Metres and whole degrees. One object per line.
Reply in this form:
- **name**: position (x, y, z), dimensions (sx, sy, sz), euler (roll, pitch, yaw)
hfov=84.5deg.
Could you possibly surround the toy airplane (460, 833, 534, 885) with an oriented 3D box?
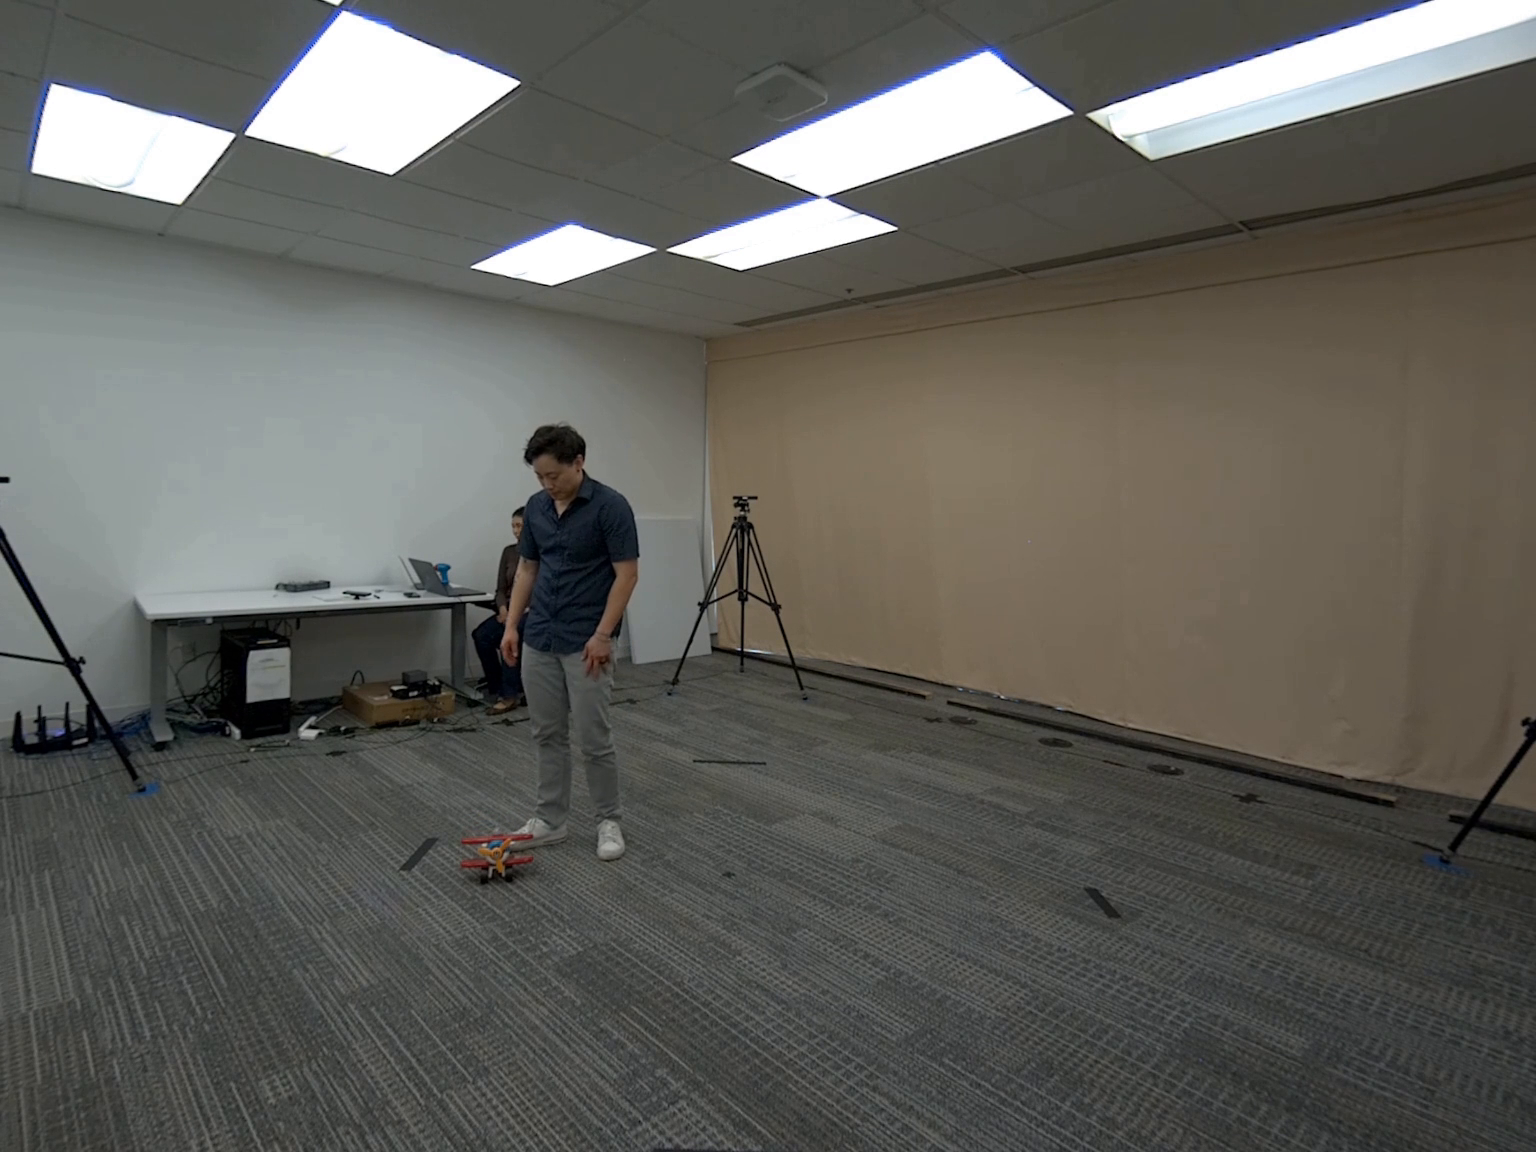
- **toy airplane**: position (-1.021, 1.017, 3.078), dimensions (0.245, 0.156, 0.266), euler (-3, 7, -42)
